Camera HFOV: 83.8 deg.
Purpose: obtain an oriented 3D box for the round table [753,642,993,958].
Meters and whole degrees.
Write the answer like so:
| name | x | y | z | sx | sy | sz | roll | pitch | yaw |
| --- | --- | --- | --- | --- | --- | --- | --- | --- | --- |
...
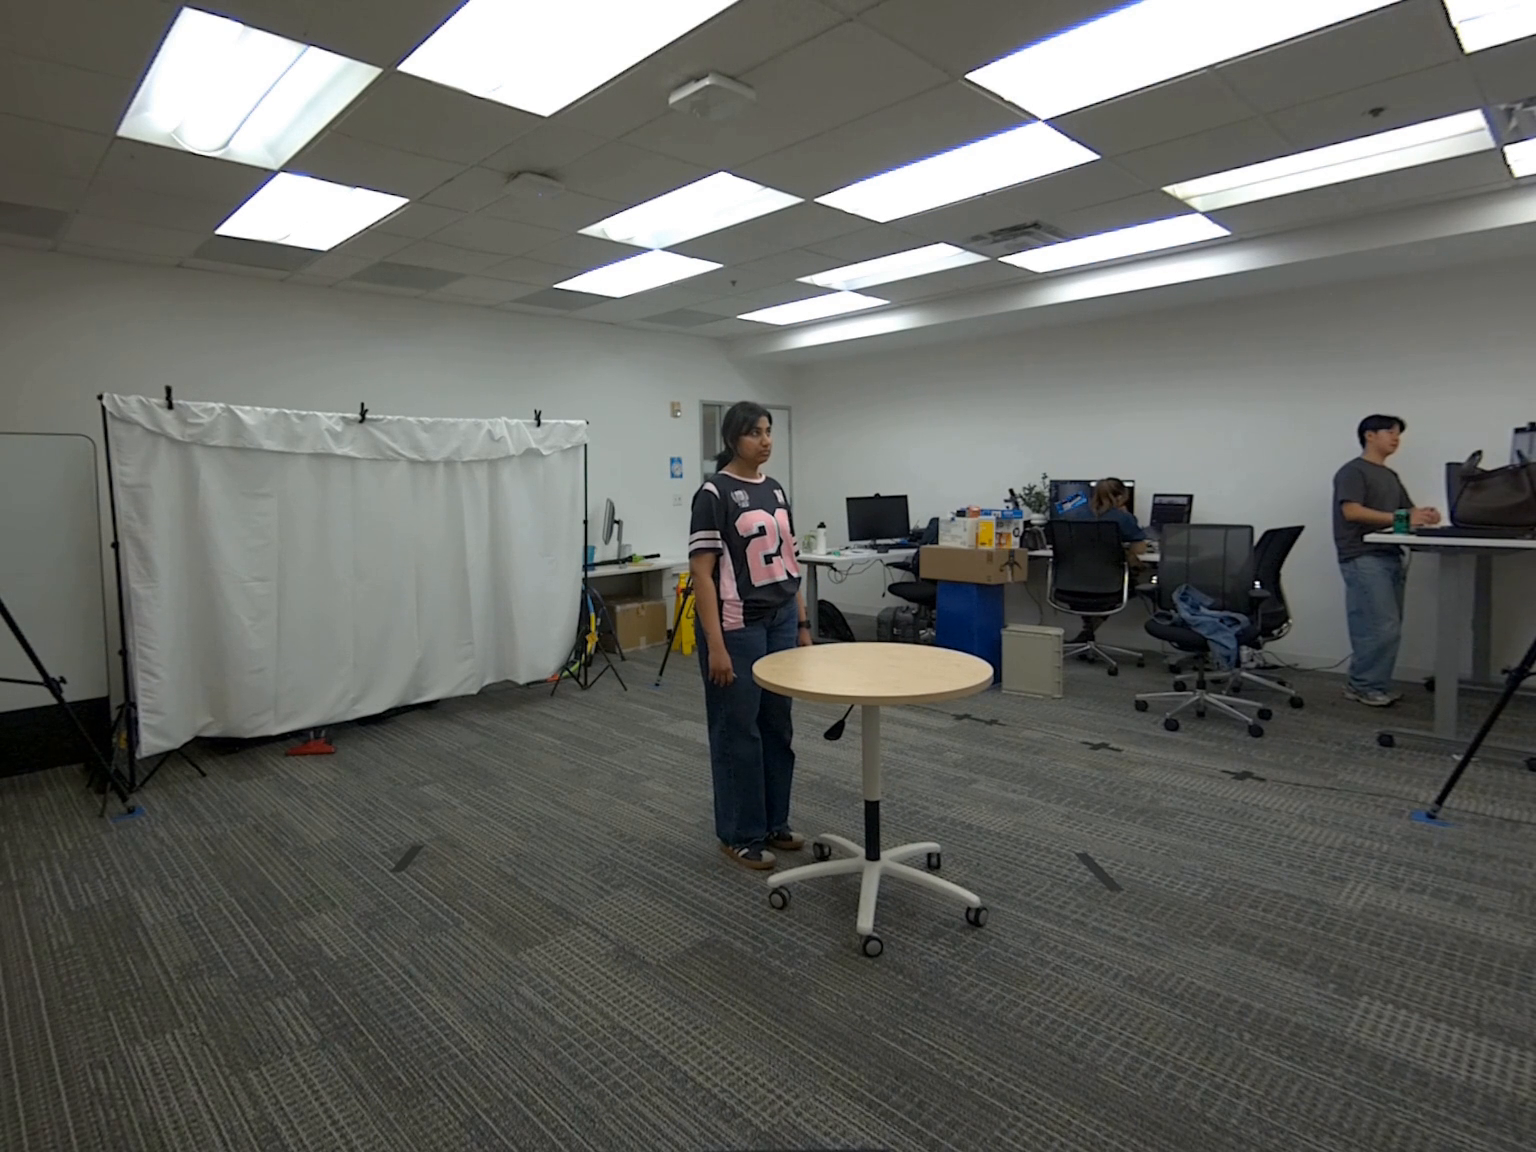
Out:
| name | x | y | z | sx | sy | sz | roll | pitch | yaw |
| --- | --- | --- | --- | --- | --- | --- | --- | --- | --- |
| round table | 0.347 | 0.679 | 2.814 | 0.784 | 0.783 | 0.789 | -1 | 5 | -2 |
